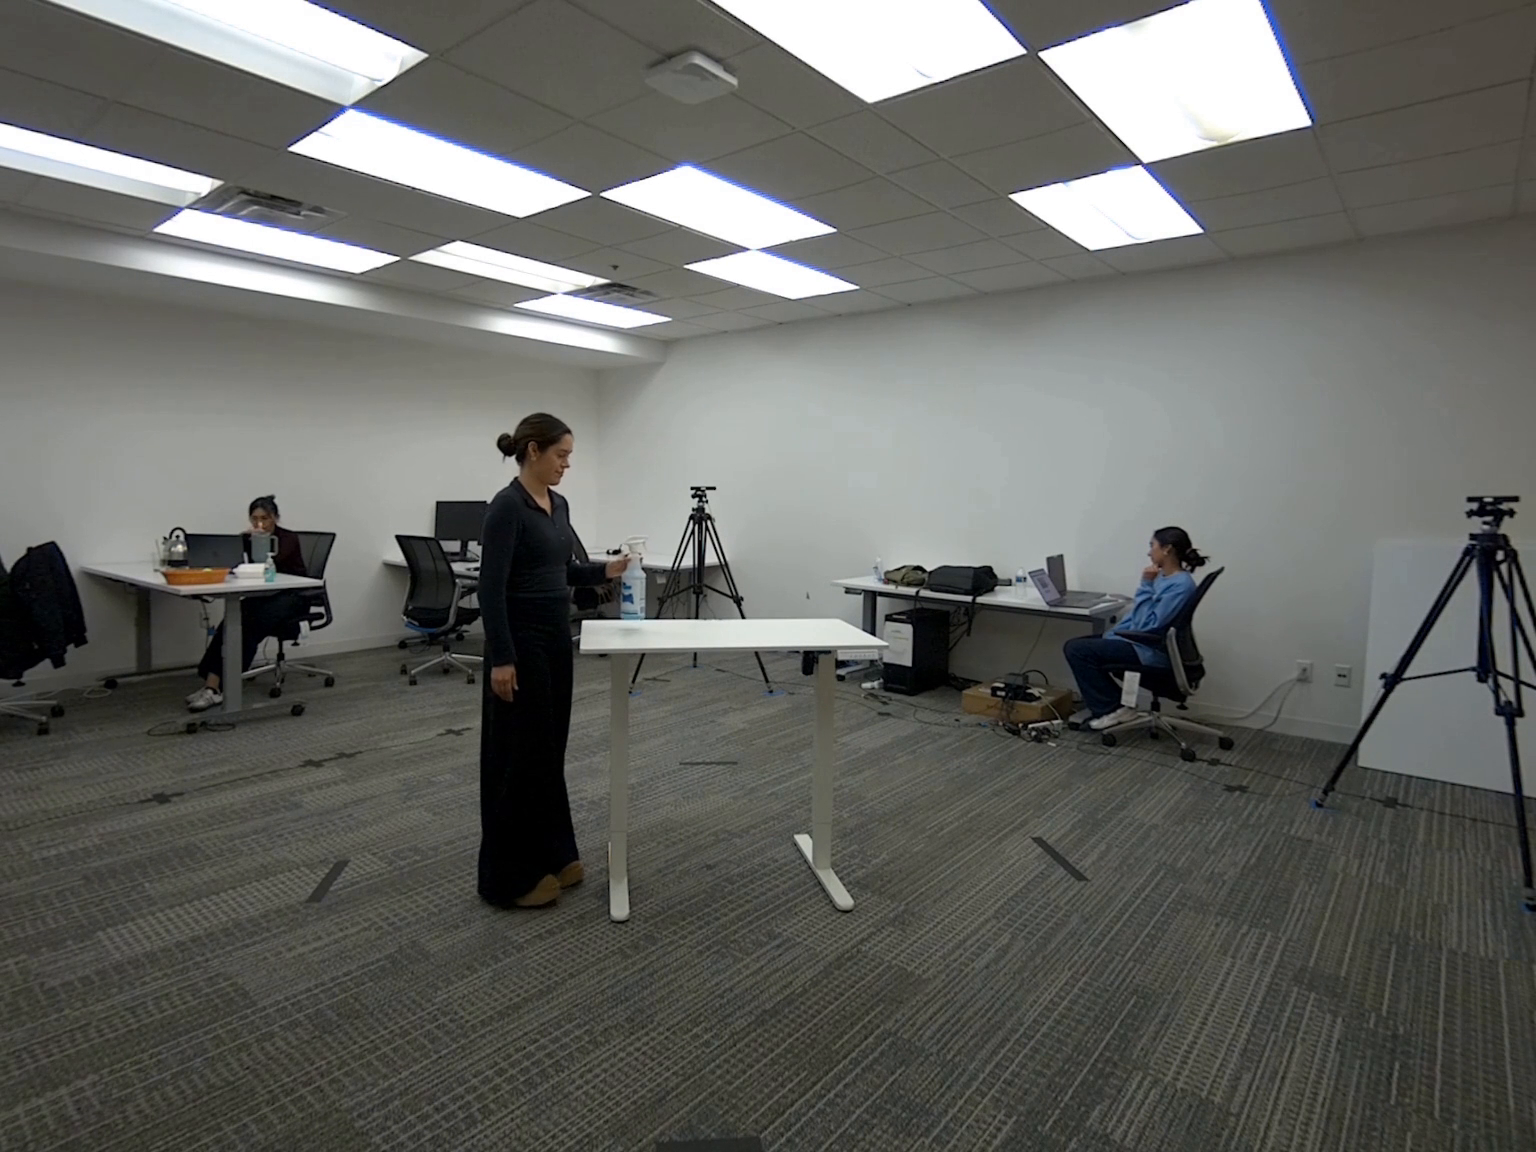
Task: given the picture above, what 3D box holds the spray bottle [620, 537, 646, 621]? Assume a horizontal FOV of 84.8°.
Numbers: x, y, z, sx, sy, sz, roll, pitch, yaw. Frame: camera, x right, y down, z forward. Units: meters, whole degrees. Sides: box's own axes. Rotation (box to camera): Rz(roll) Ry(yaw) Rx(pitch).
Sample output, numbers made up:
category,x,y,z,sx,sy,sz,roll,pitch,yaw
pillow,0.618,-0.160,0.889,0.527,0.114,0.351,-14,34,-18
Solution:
category,x,y,z,sx,sy,sz,roll,pitch,yaw
spray bottle,-0.492,0.007,3.014,0.090,0.297,0.087,3,1,2
